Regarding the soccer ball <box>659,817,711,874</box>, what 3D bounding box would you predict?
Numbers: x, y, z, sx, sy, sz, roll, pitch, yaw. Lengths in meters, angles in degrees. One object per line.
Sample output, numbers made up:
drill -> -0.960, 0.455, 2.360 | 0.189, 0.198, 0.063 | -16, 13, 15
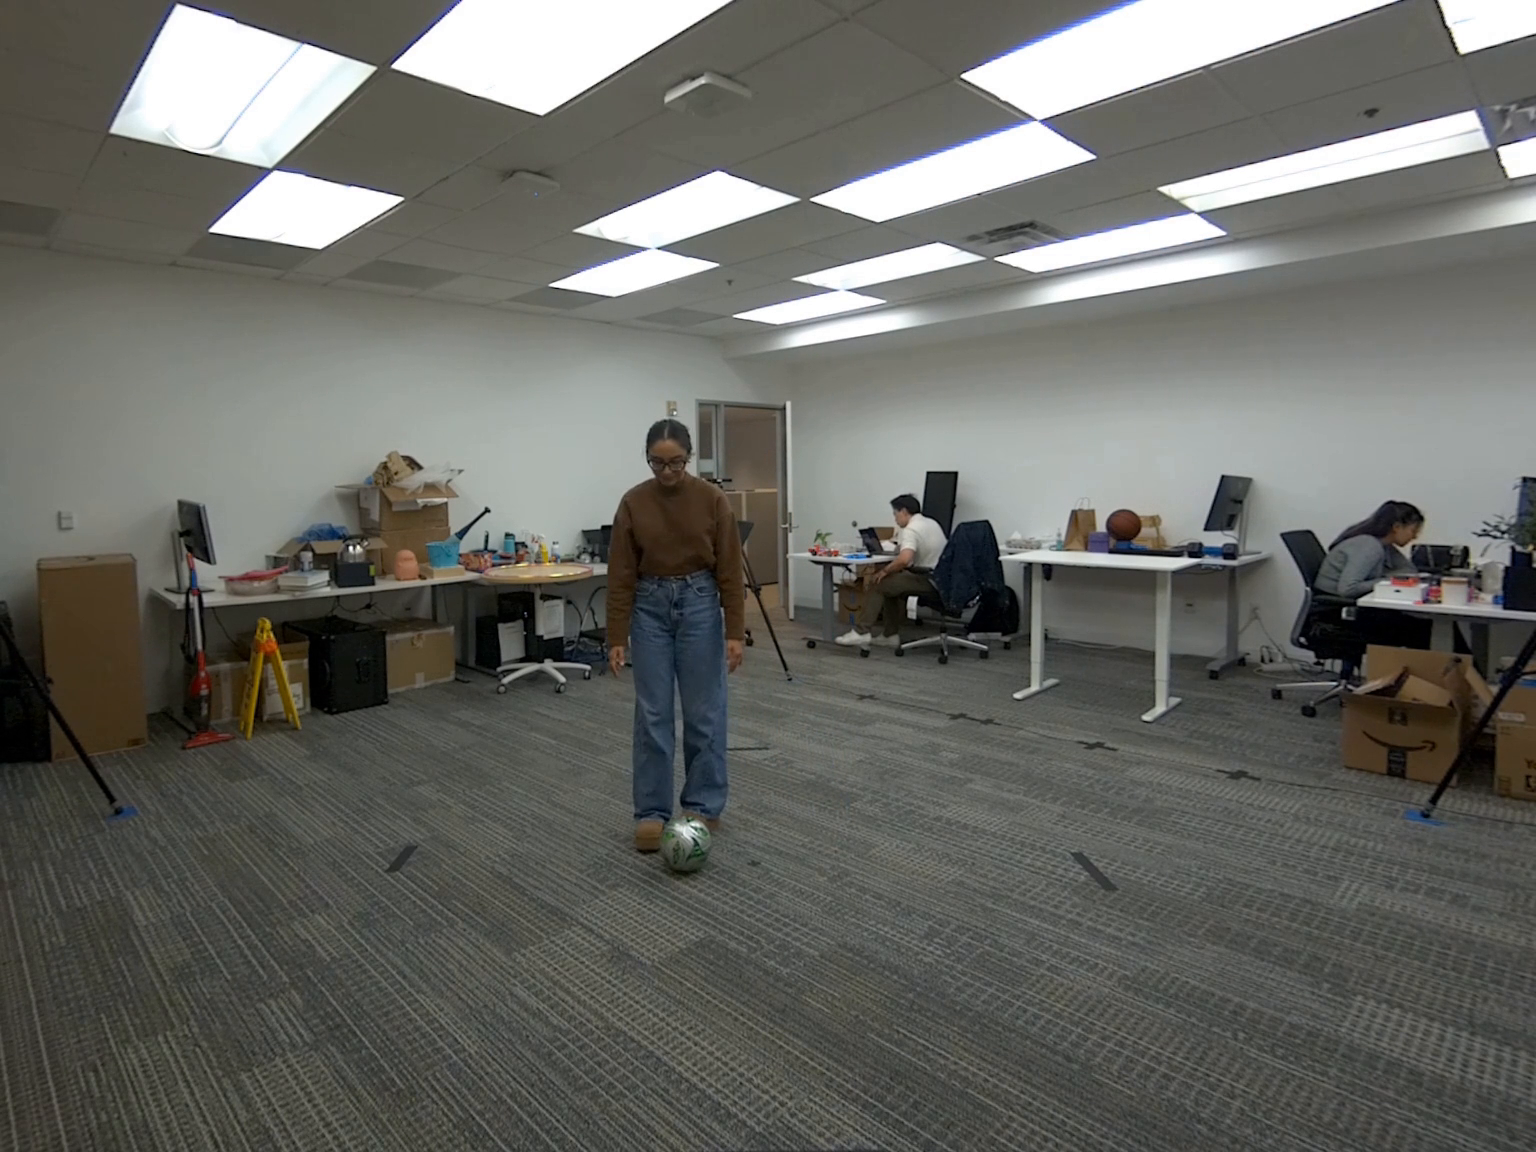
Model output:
soccer ball -> -0.293, 0.959, 3.061 | 0.187, 0.187, 0.188 | -1, 5, -2
